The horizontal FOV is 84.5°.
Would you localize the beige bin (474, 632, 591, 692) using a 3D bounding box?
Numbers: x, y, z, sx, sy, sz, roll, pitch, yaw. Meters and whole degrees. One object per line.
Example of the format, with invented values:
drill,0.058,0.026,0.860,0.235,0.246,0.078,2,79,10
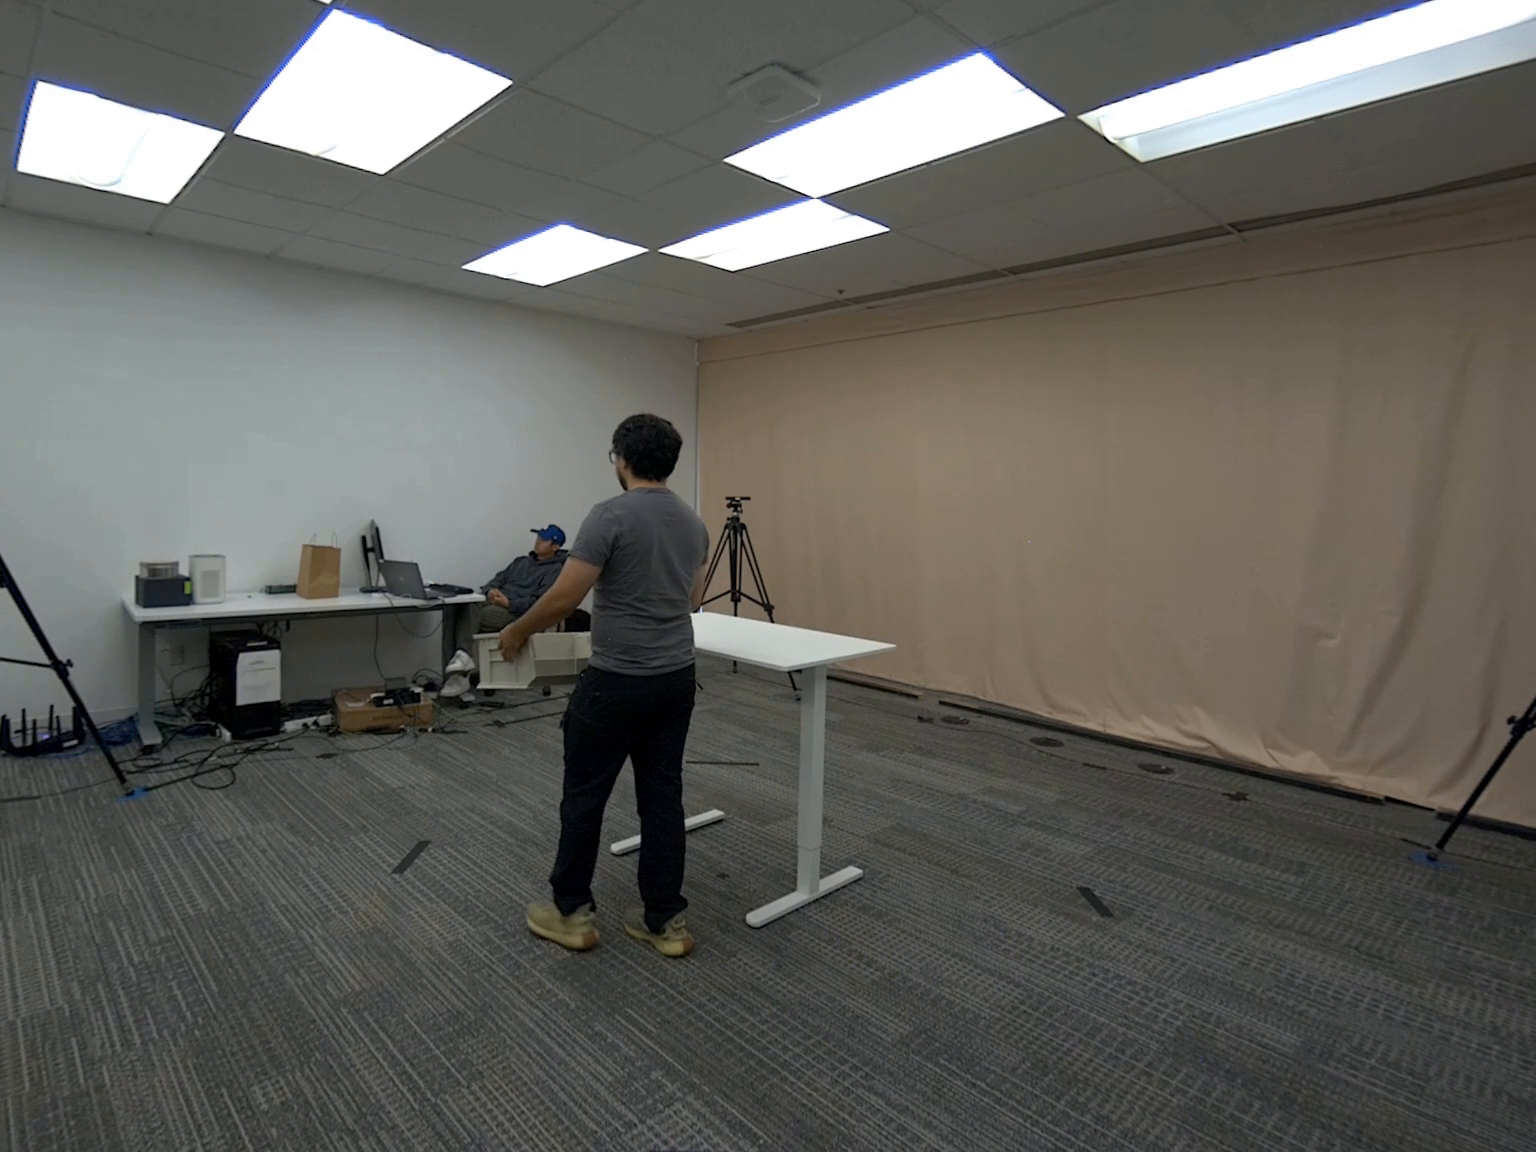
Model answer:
beige bin,-0.715,0.280,2.852,0.385,0.190,0.412,-8,-7,44
